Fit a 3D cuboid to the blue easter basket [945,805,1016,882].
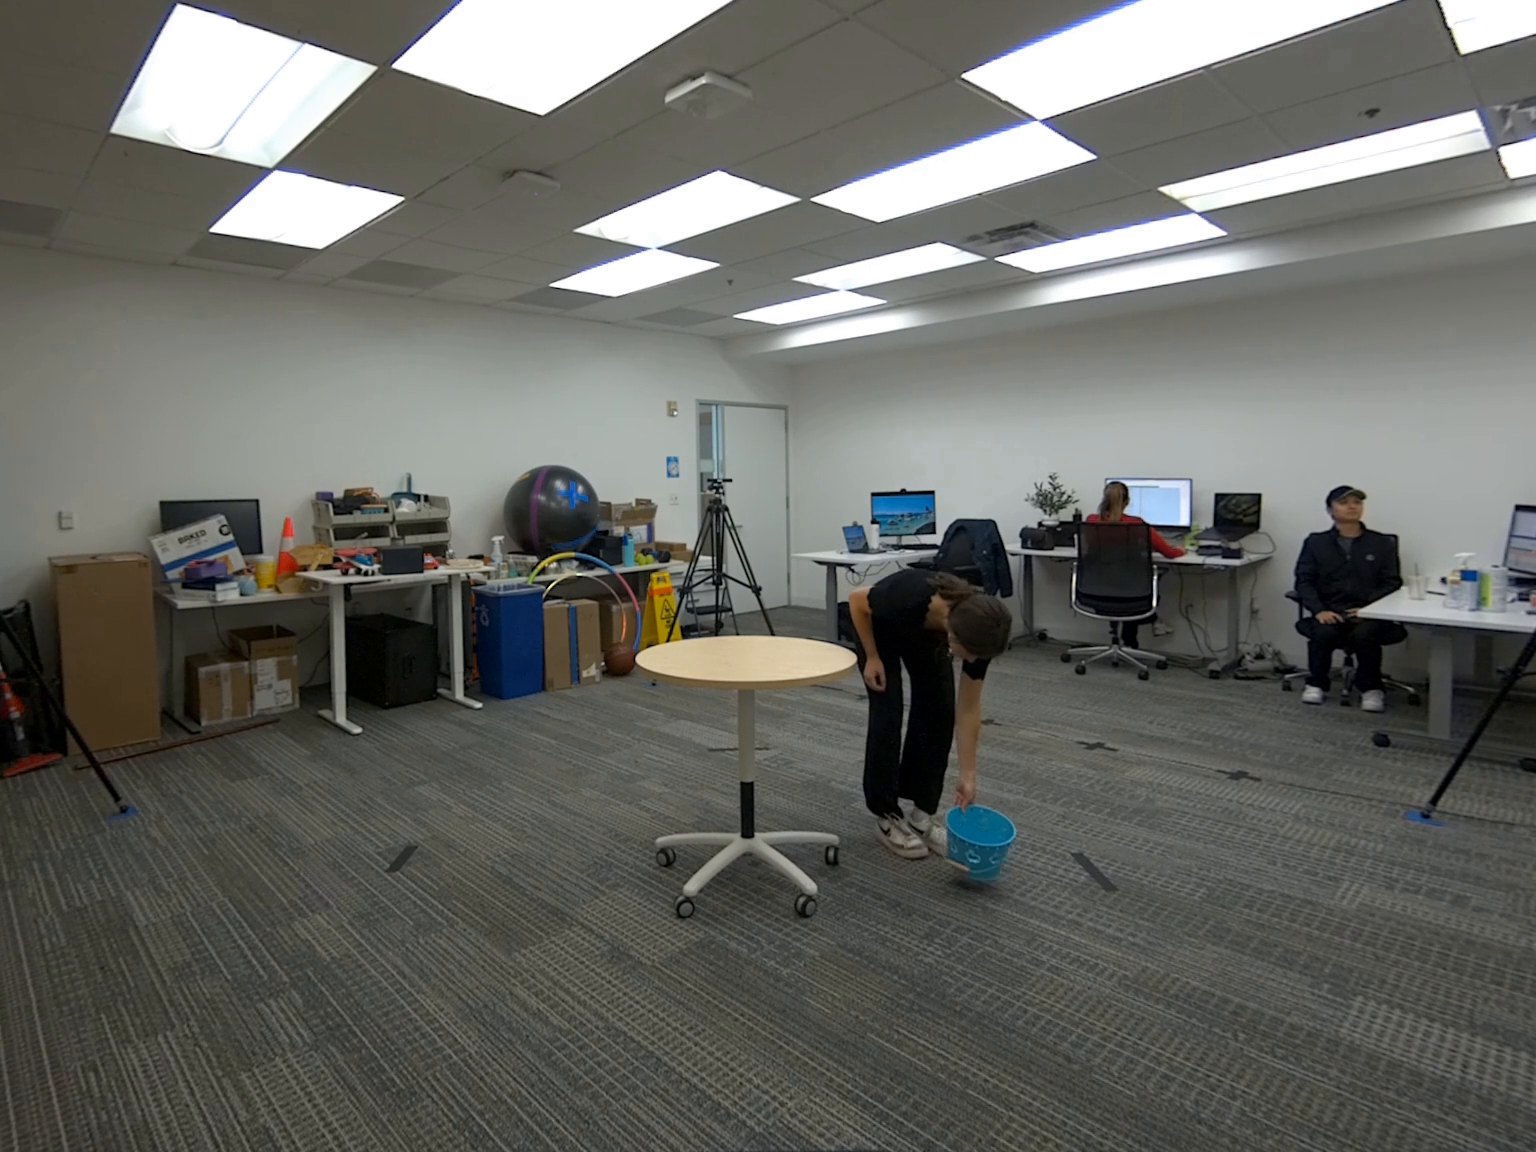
[{"bbox_3d":[0.721,0.906,2.911,0.243,0.154,0.247,1,15,-2],"label":"blue easter basket"}]
